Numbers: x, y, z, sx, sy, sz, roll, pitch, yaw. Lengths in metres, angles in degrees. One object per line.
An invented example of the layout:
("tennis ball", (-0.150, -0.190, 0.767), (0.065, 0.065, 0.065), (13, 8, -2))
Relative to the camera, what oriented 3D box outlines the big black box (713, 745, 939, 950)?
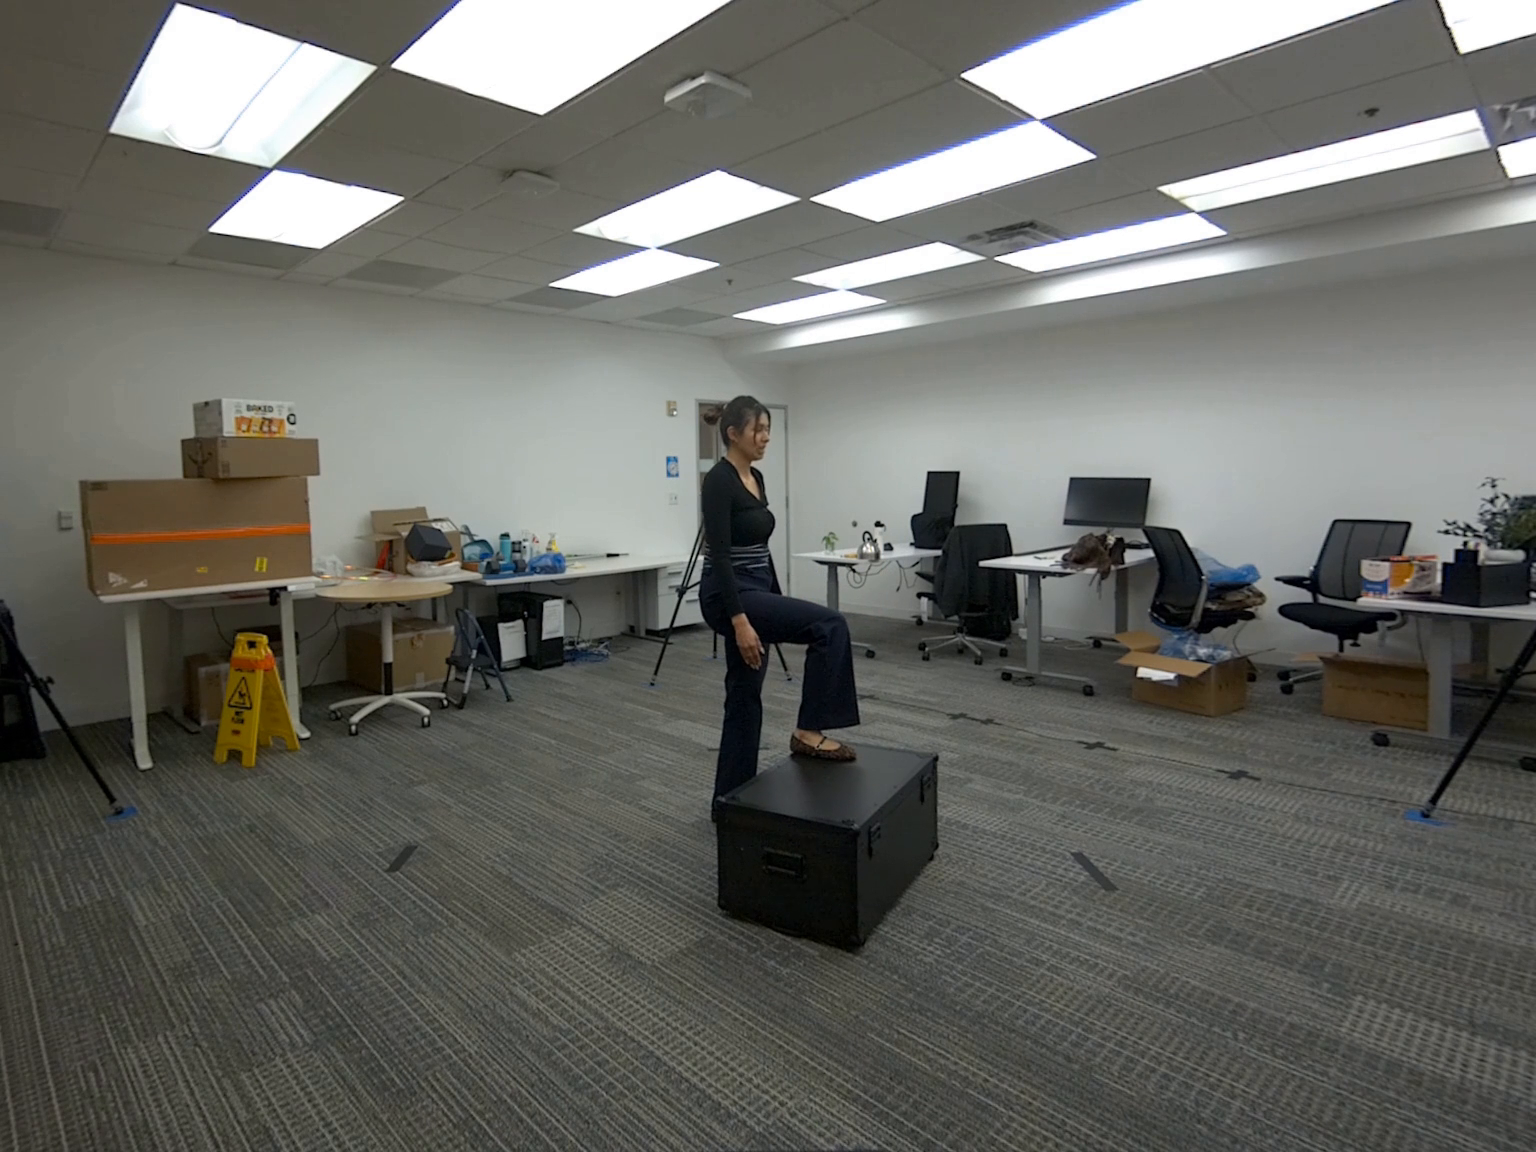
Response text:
("big black box", (0.253, 0.869, 2.956), (0.534, 0.394, 0.843), (1, 6, 29))
